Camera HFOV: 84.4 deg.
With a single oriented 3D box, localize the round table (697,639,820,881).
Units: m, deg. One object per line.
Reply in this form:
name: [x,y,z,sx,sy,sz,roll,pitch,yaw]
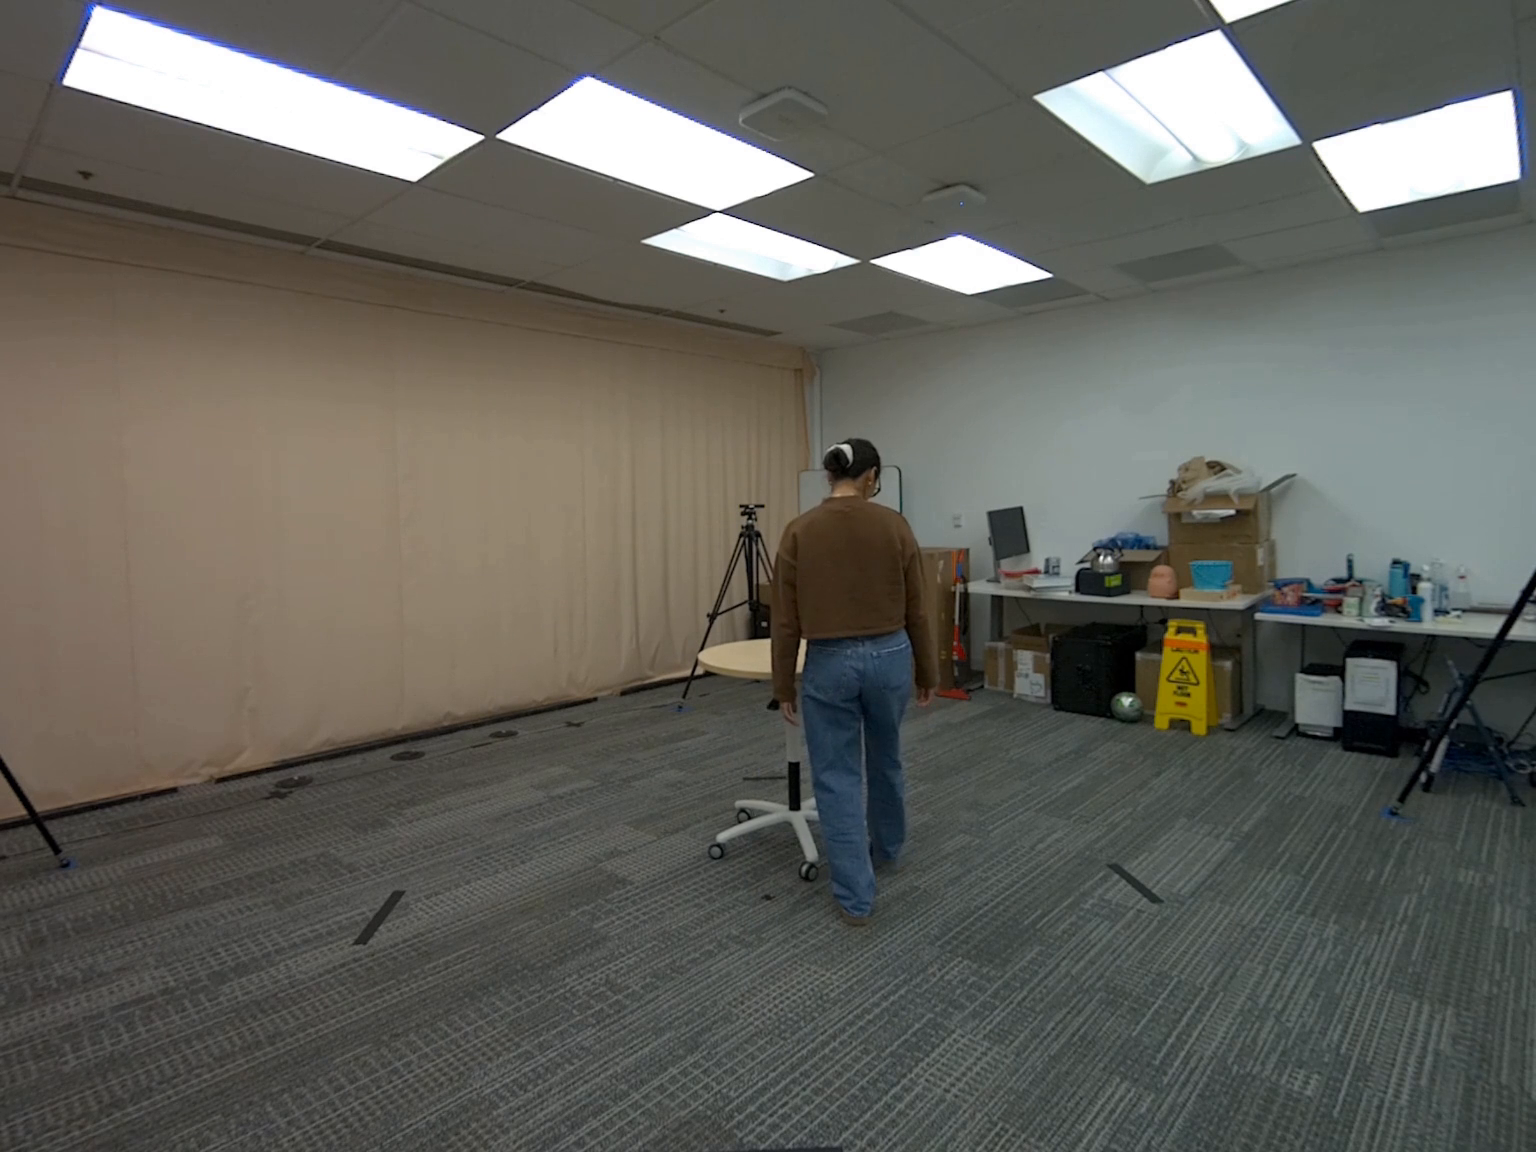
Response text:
round table: [0.103,0.709,3.441,0.763,0.792,0.766,-1,4,-2]
